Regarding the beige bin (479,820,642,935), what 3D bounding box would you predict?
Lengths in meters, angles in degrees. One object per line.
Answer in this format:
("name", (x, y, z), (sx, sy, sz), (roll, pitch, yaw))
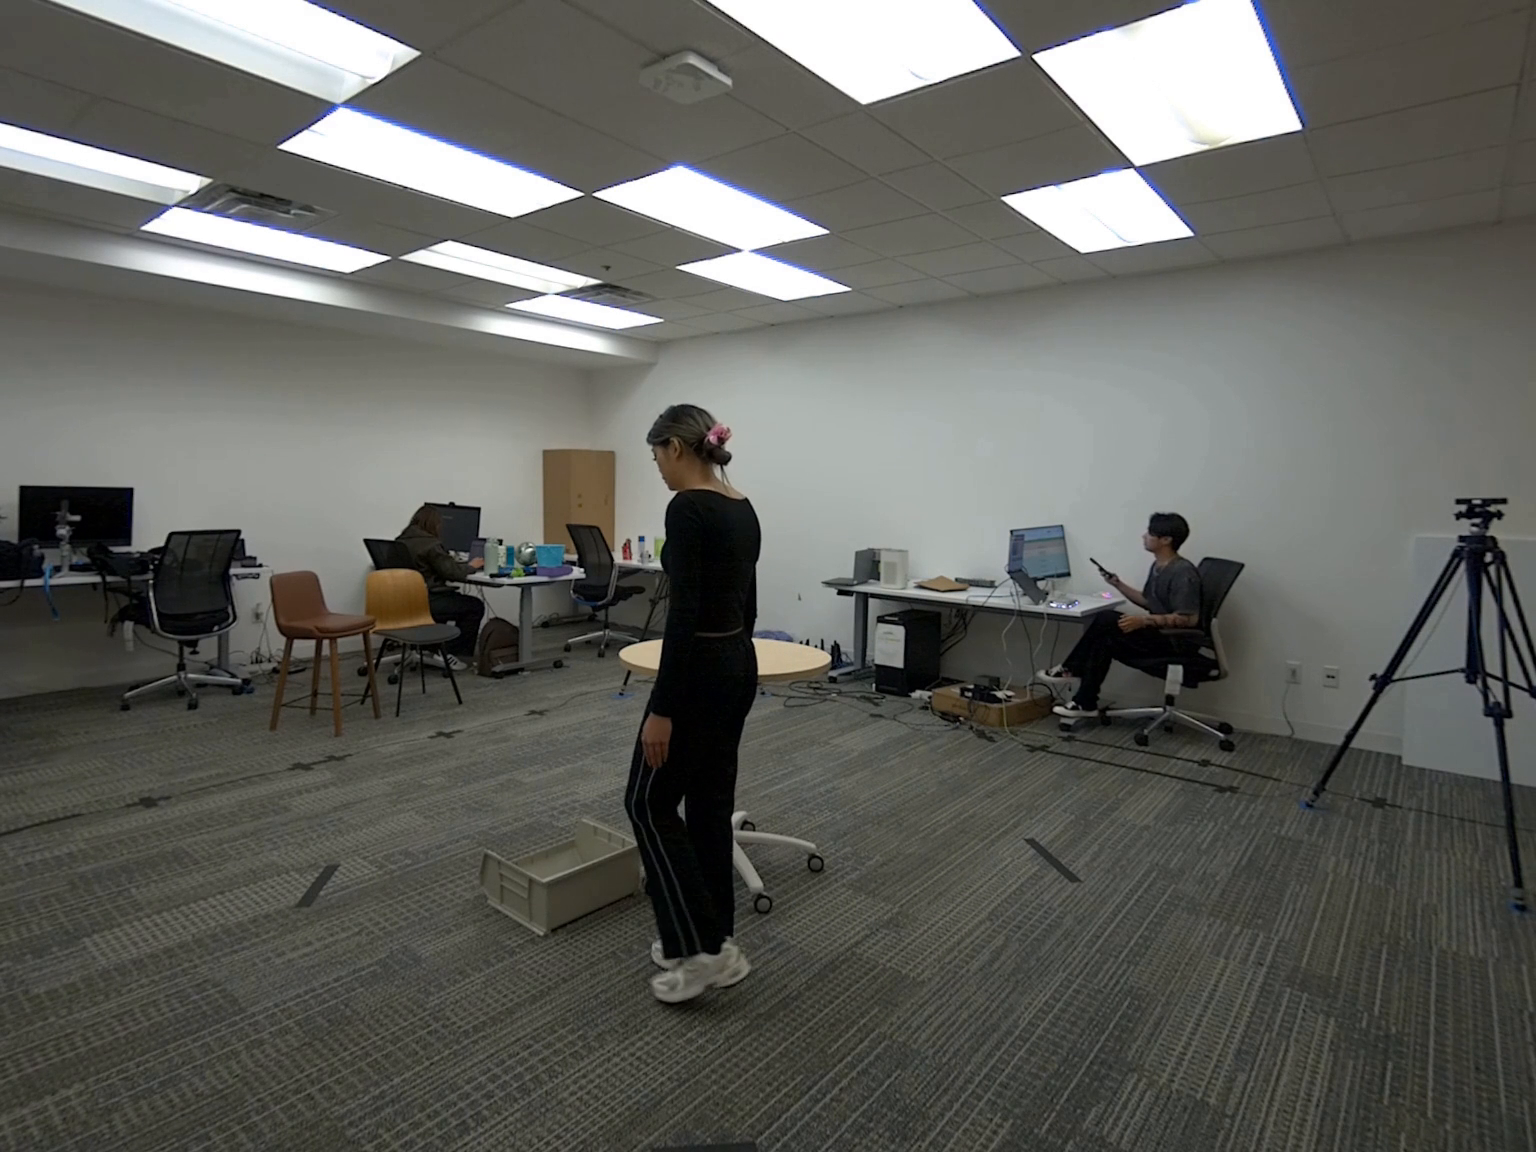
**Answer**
("beige bin", (-0.711, 0.999, 2.884), (0.390, 0.188, 0.410), (6, 7, 40))
